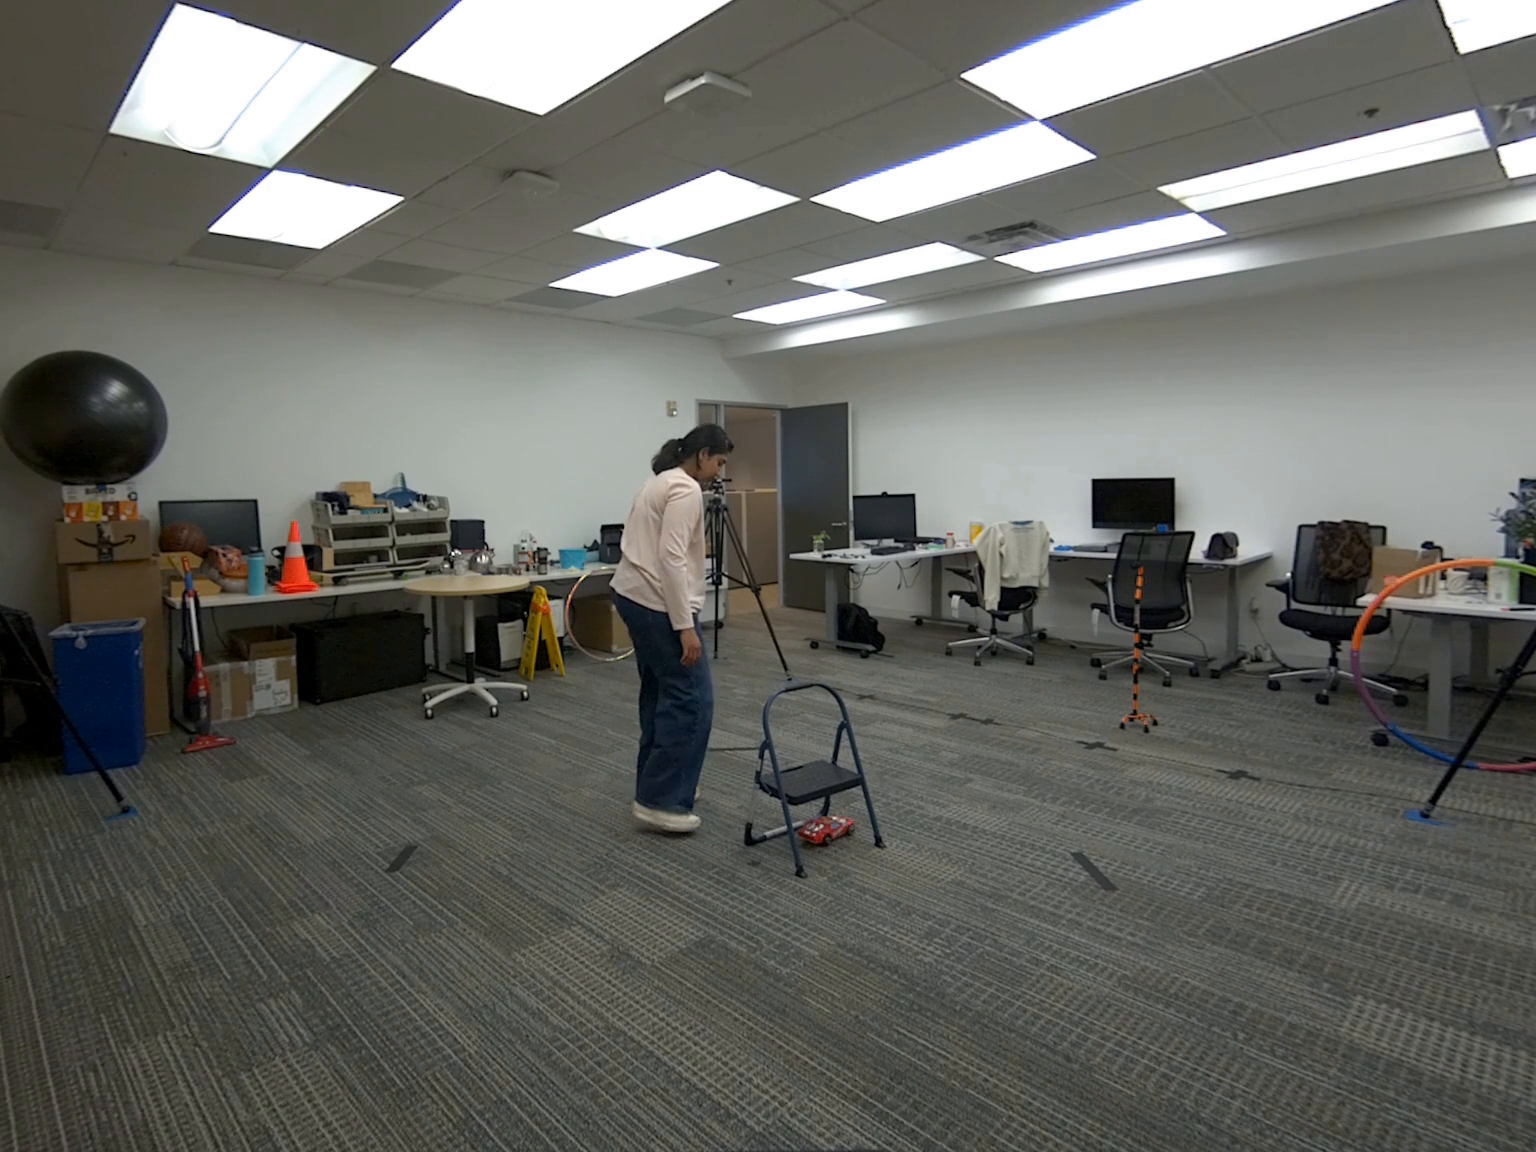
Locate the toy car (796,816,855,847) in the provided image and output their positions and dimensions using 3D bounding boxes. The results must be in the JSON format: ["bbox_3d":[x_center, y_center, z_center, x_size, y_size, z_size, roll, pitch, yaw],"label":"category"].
[{"bbox_3d":[0.217,0.978,3.306,0.246,0.083,0.134,10,-3,-41],"label":"toy car"}]
